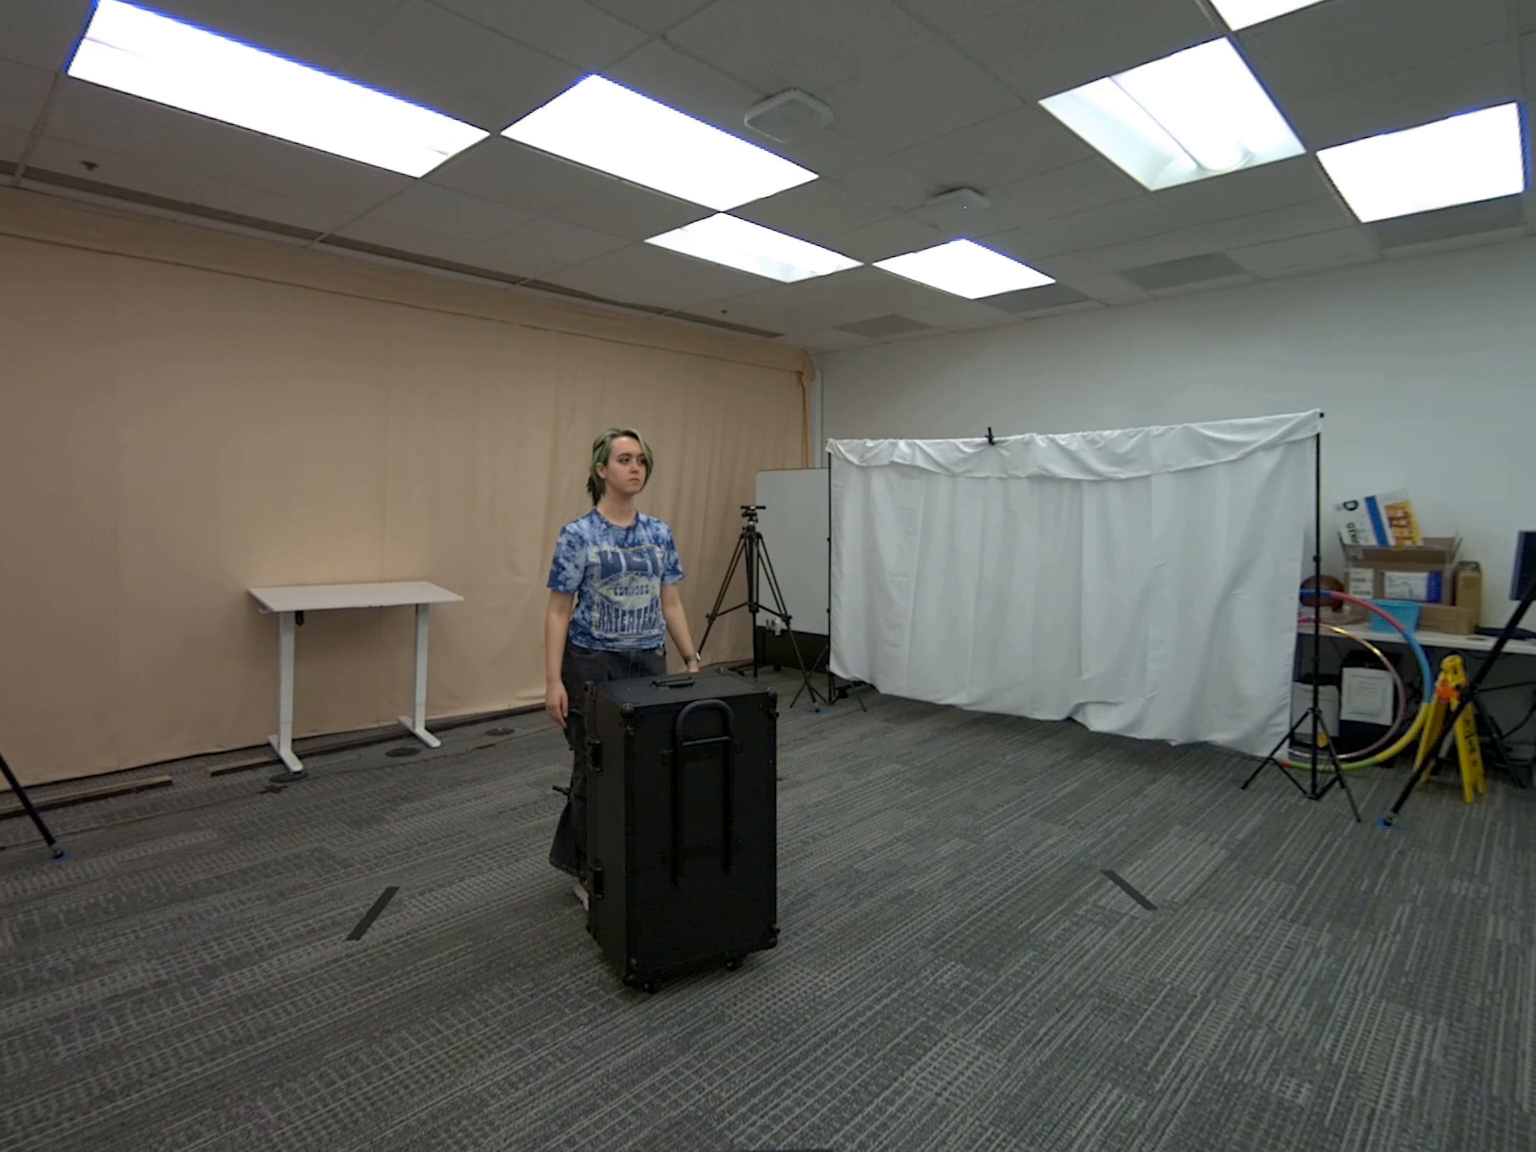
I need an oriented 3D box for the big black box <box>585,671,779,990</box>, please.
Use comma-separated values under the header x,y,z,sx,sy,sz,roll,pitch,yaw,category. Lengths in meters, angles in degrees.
x,y,z,sx,sy,sz,roll,pitch,yaw,category
-0.258,0.699,2.546,0.508,0.860,0.407,-1,4,-28,big black box
